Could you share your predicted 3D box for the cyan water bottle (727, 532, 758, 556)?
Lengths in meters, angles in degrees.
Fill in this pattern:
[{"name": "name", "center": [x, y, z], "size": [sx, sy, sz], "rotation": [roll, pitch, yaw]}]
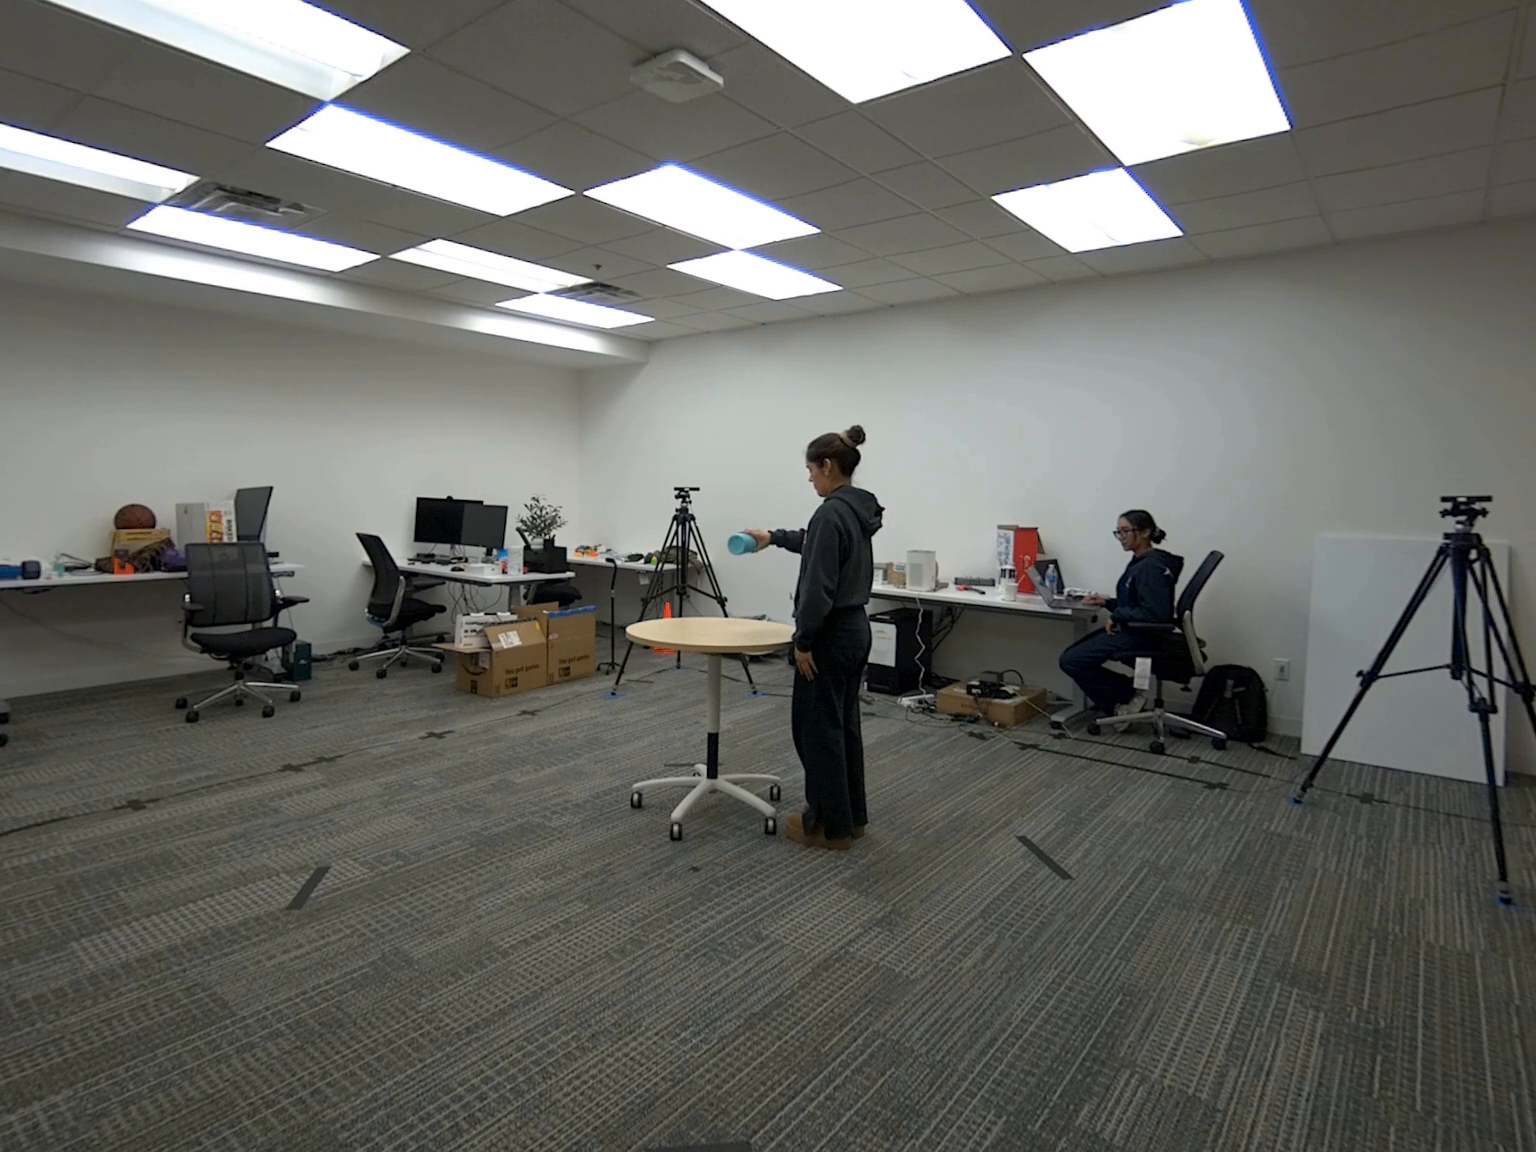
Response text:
[{"name": "cyan water bottle", "center": [-0.080, -0.149, 3.725], "size": [0.095, 0.091, 0.278], "rotation": [2, 9, 27]}]
